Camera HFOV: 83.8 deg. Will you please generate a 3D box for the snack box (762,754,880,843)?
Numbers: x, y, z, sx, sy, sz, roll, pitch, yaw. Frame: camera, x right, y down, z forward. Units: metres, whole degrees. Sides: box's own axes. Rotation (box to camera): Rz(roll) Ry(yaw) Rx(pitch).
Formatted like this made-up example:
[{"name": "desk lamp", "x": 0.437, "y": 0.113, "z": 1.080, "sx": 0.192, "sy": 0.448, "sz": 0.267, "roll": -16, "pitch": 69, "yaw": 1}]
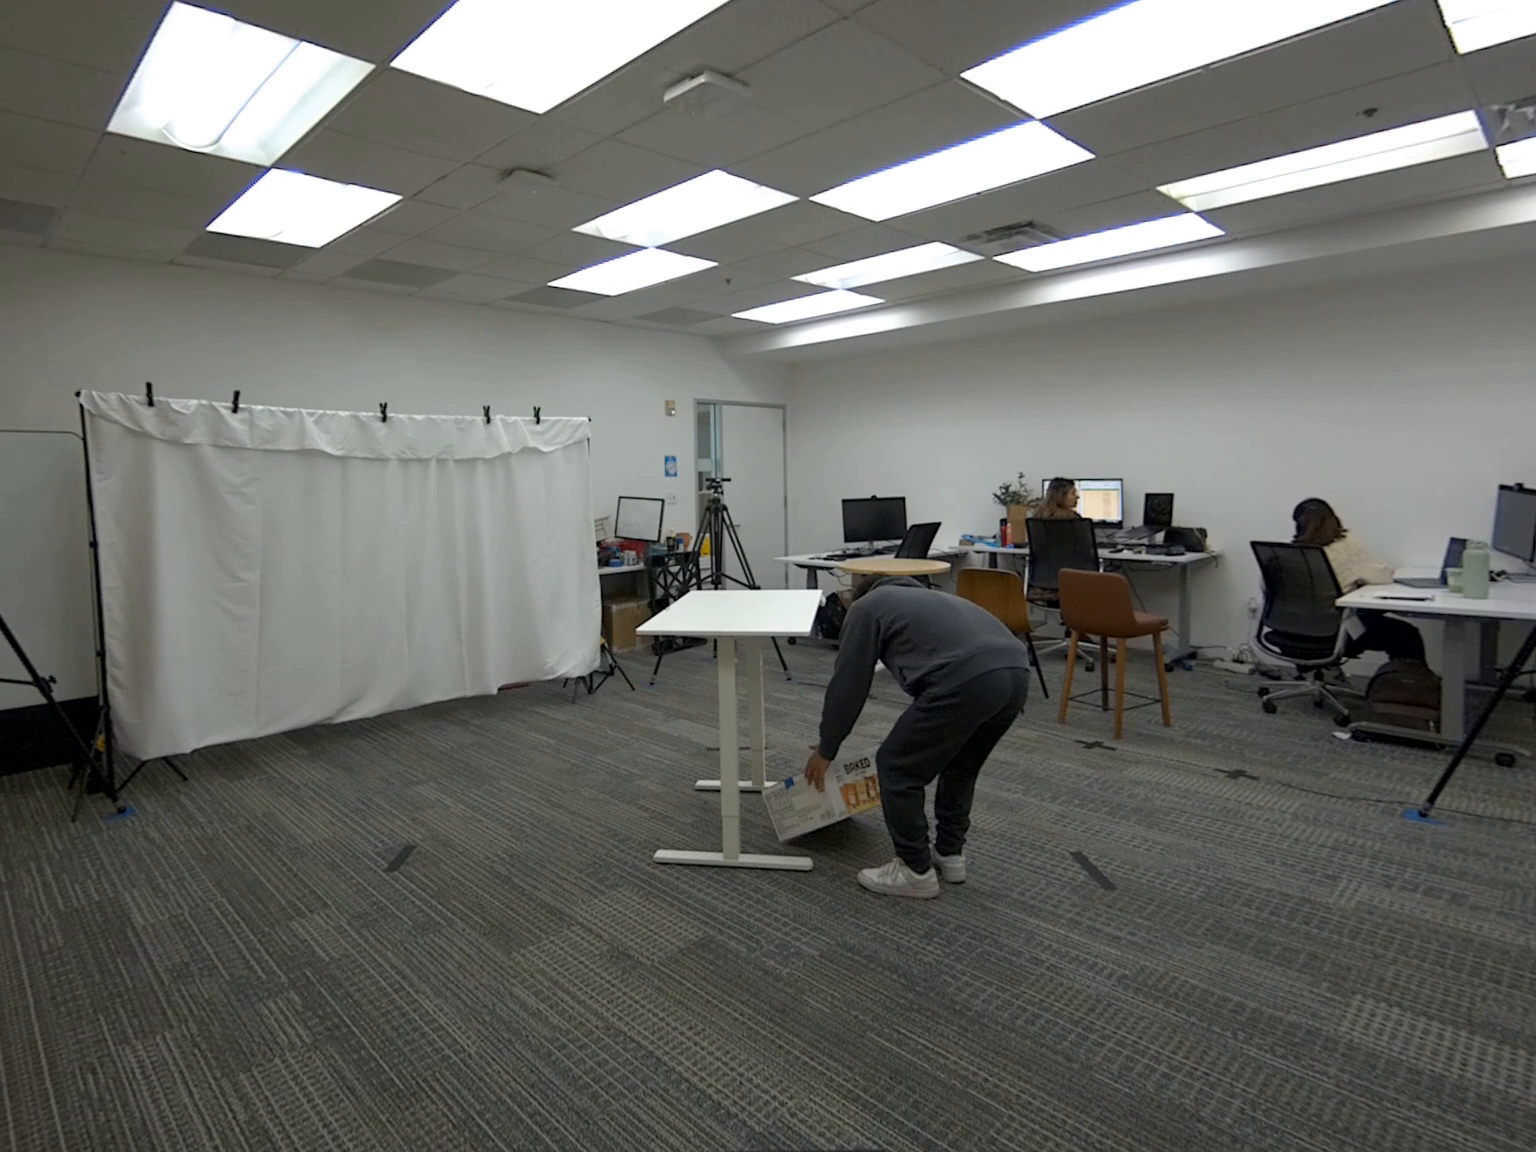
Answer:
[{"name": "snack box", "x": 0.256, "y": 0.842, "z": 3.316, "sx": 0.394, "sy": 0.210, "sz": 0.342, "roll": -5, "pitch": -23, "yaw": -44}]
